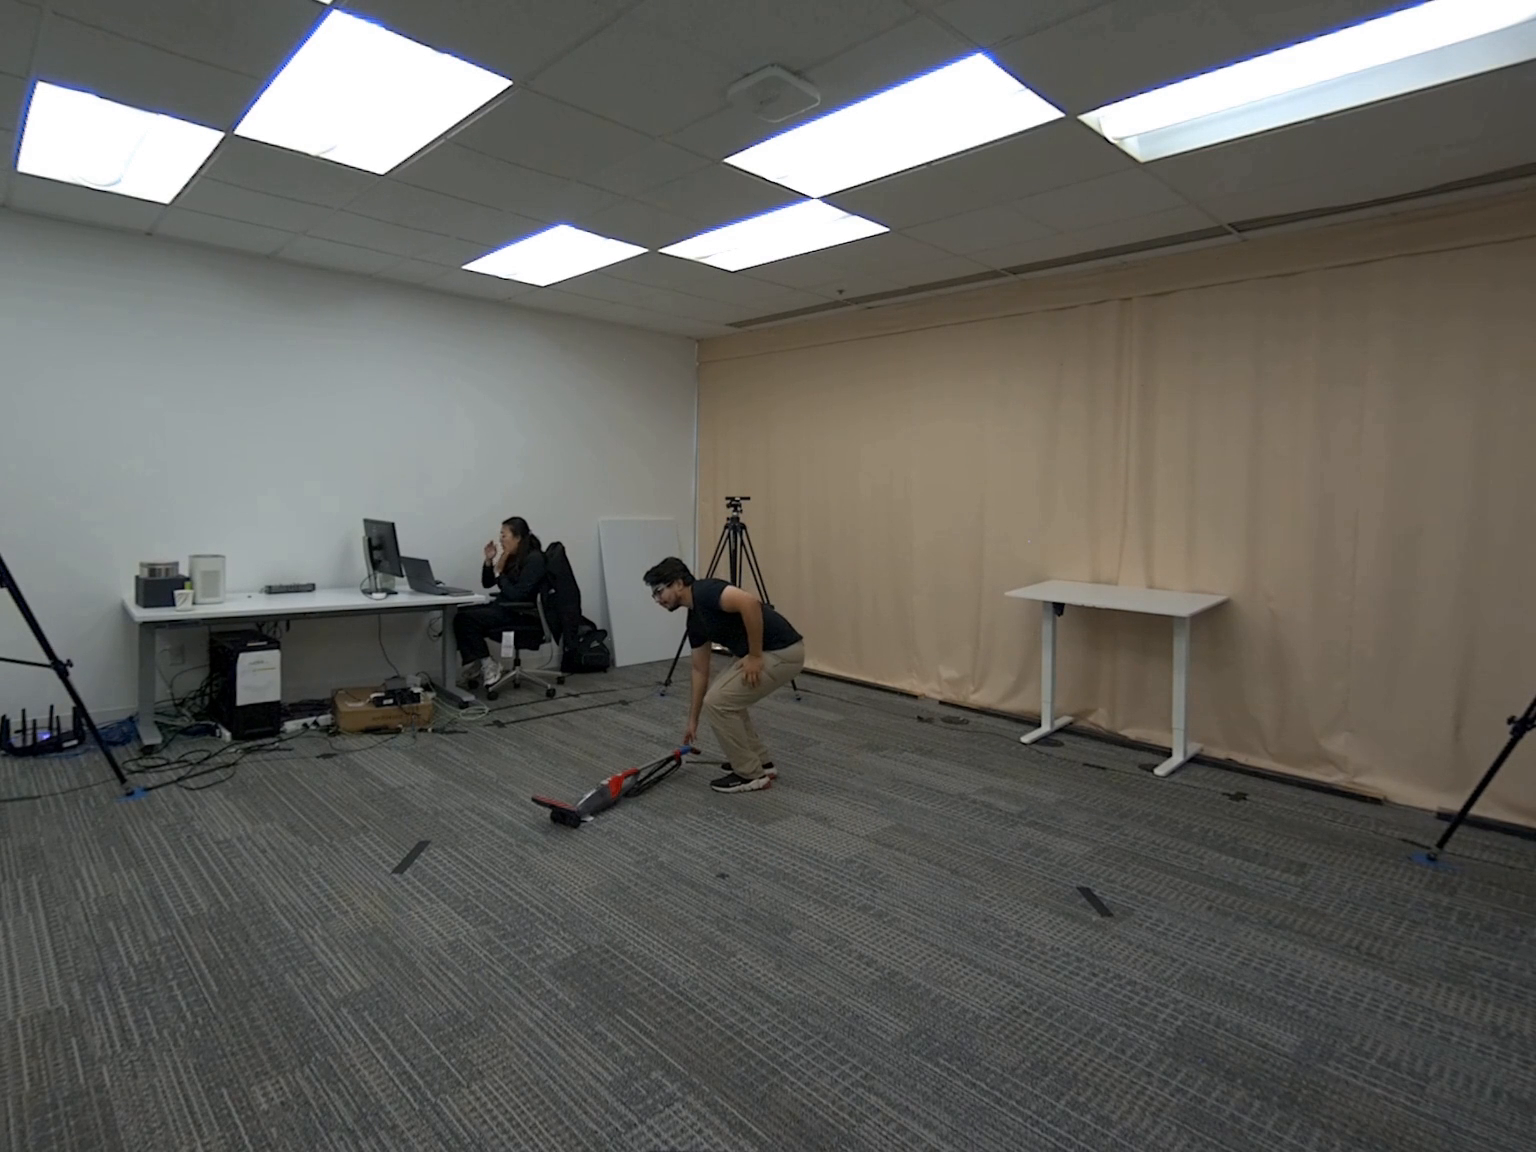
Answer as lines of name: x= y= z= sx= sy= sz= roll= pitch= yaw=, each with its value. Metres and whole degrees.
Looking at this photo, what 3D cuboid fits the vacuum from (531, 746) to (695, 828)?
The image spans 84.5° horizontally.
vacuum: x=-0.632 y=0.961 z=3.951 sx=0.258 sy=0.143 sz=1.030 roll=4 pitch=6 yaw=30
